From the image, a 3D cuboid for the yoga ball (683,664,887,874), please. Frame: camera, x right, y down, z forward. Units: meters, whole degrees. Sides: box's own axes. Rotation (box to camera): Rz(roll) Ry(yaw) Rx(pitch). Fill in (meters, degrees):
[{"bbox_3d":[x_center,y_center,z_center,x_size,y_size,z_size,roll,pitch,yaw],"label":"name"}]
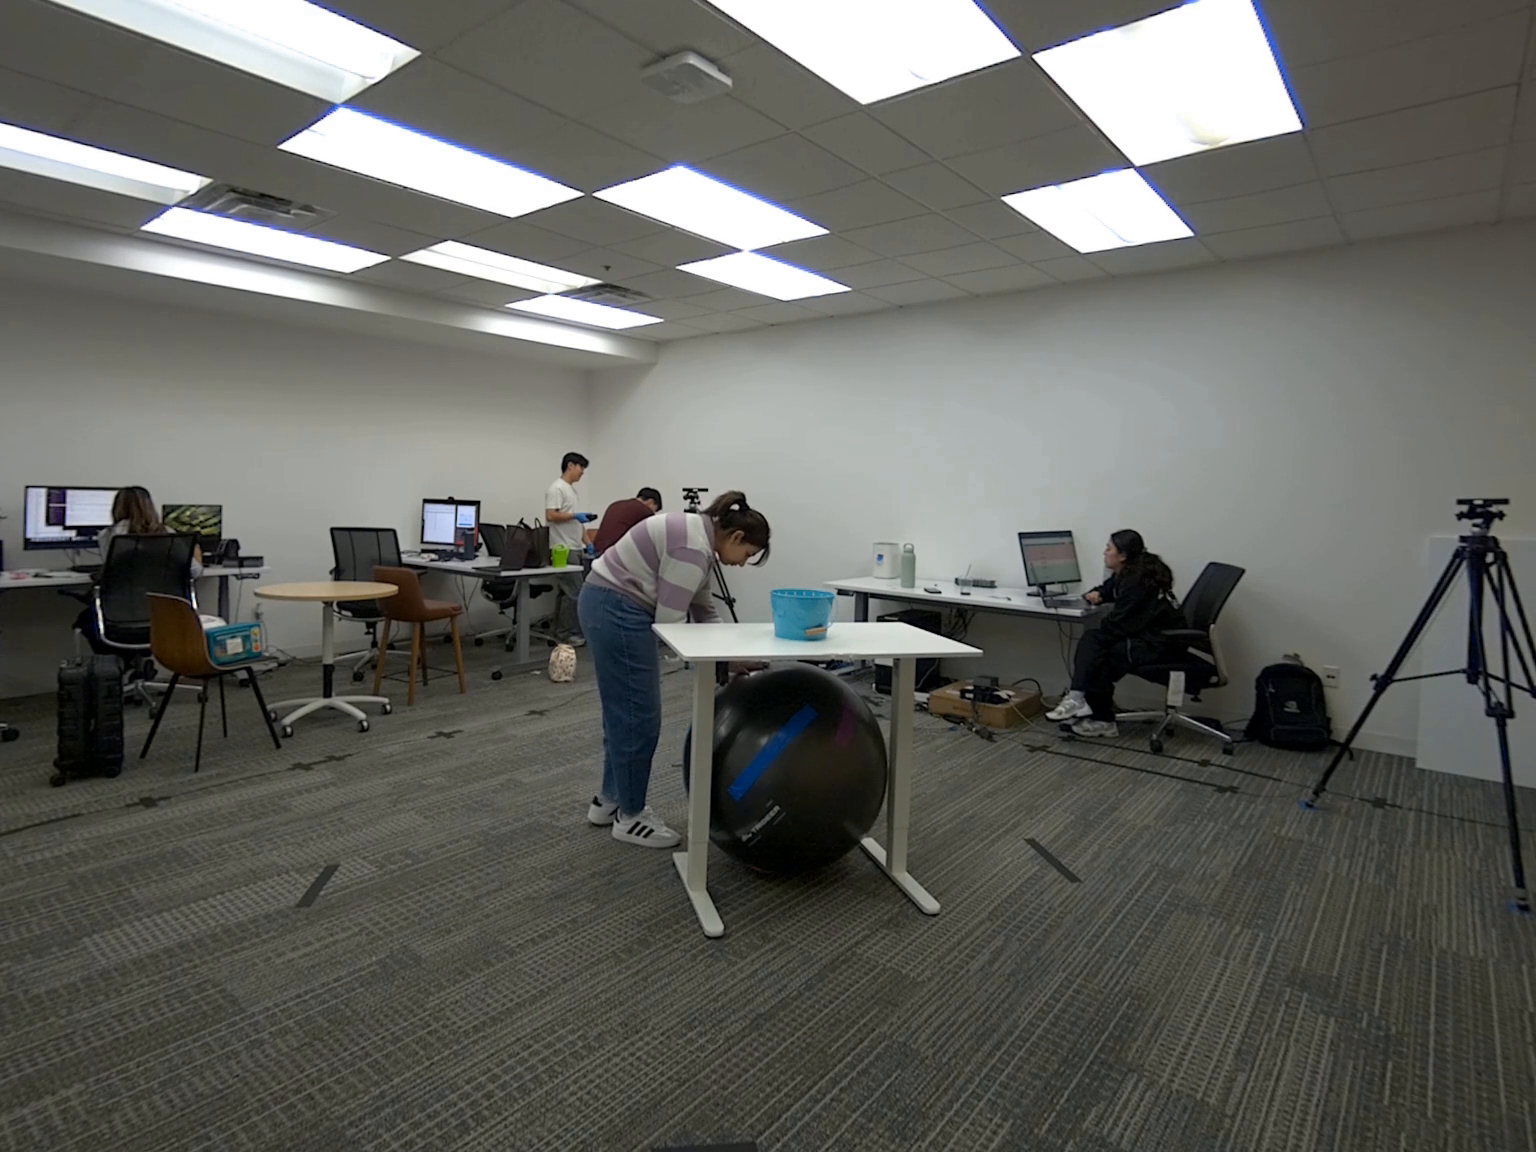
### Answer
[{"bbox_3d":[0.065,0.703,3.168,0.757,0.755,0.762,1,4,-2],"label":"yoga ball"}]
